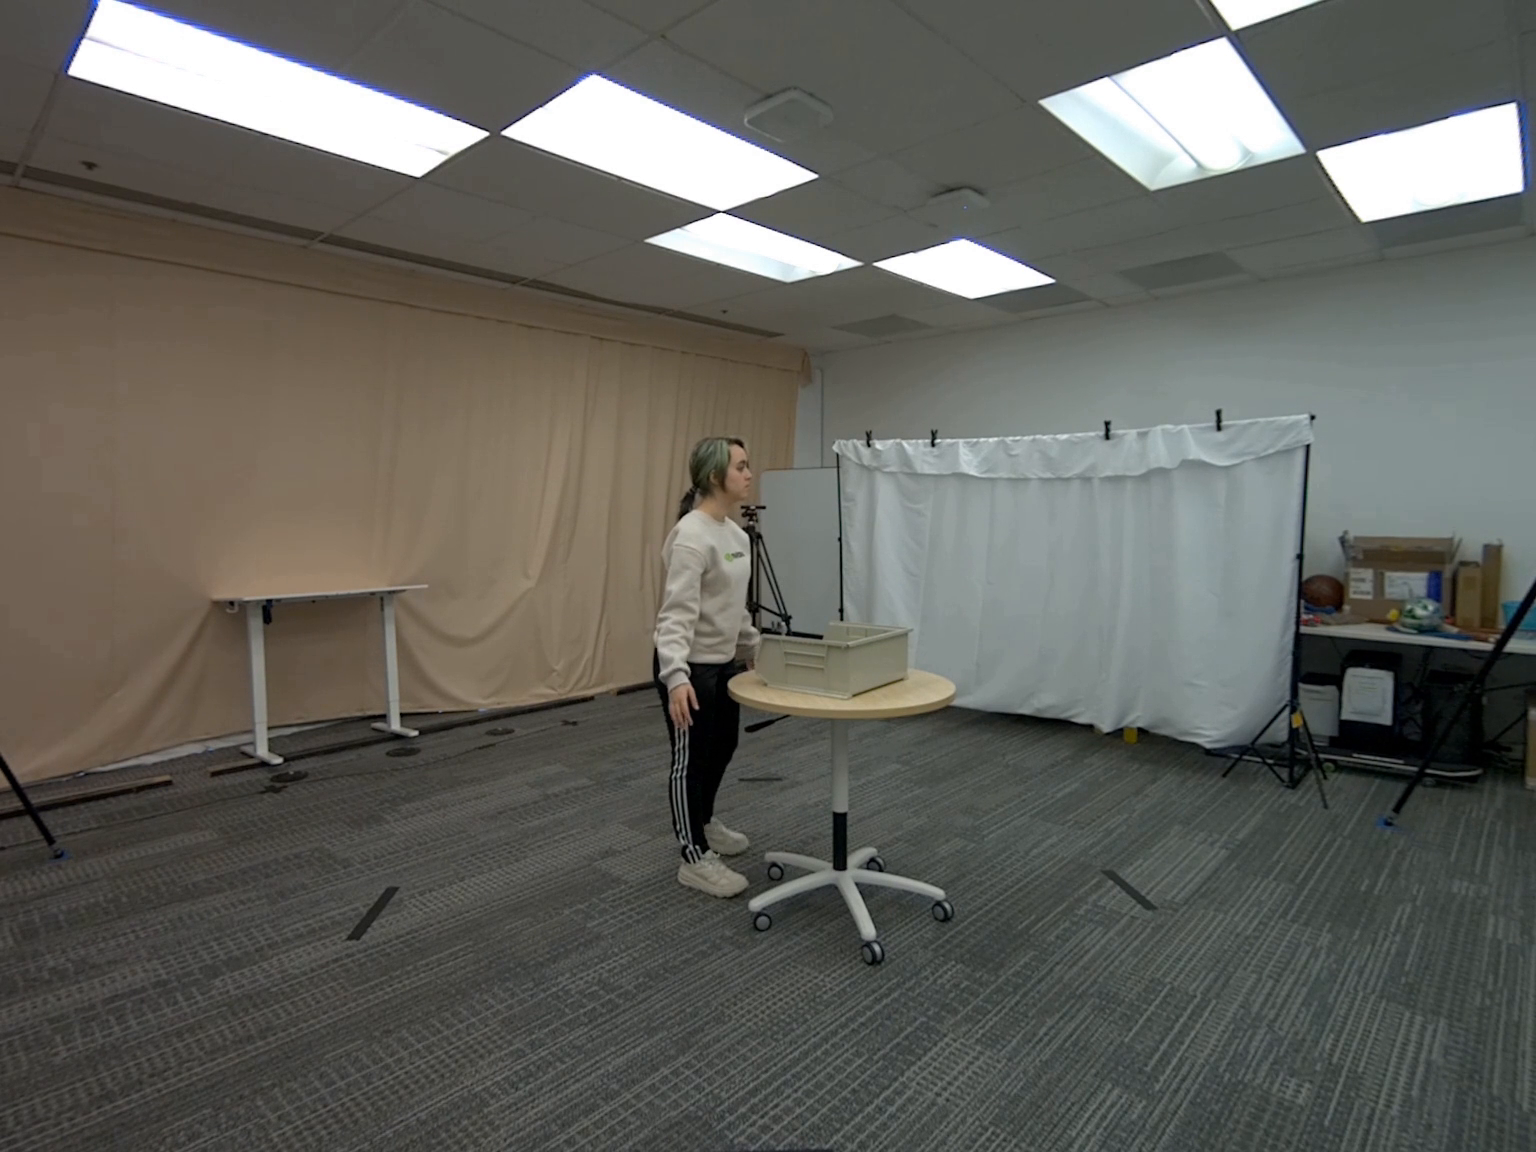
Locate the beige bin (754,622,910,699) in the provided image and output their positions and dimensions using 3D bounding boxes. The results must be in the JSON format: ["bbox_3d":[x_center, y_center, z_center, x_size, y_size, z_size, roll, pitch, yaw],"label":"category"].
[{"bbox_3d":[0.230,0.280,2.883,0.390,0.188,0.410,4,6,38],"label":"beige bin"}]
